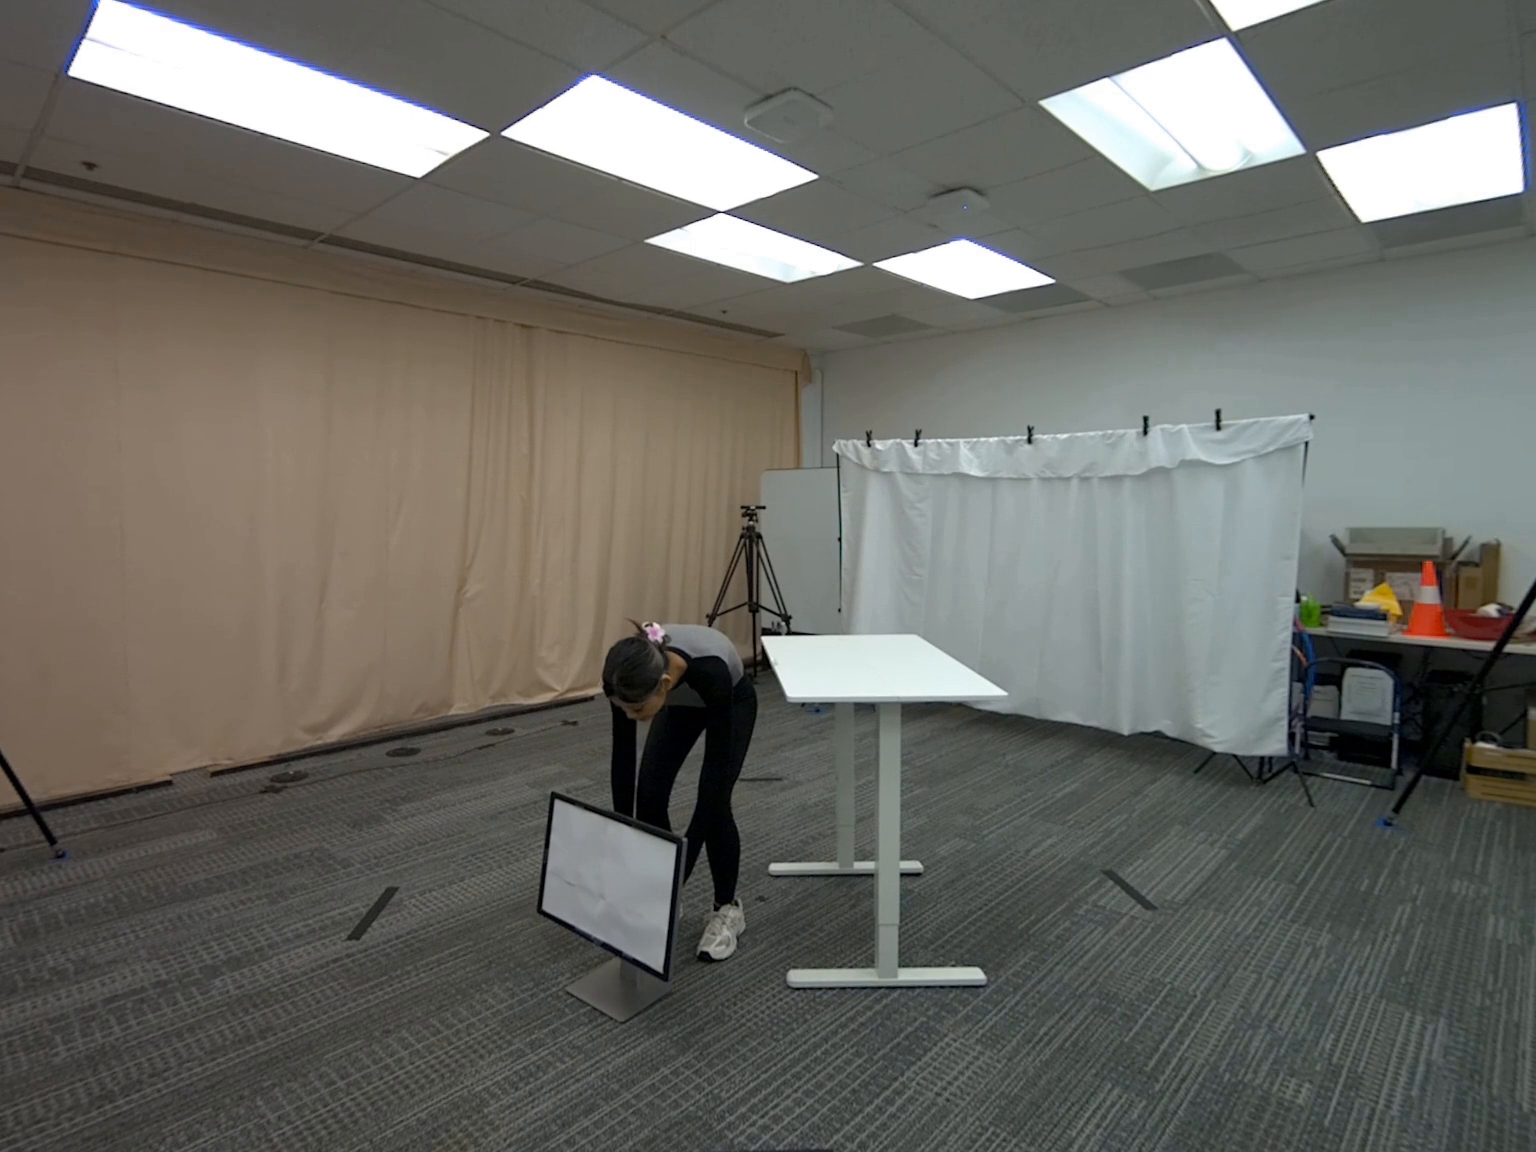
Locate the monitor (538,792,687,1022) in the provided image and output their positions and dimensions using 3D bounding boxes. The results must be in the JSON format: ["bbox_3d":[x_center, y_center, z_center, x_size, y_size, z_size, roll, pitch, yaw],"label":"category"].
[{"bbox_3d":[-0.424,0.934,2.404,0.557,0.521,0.181,3,5,39],"label":"monitor"}]
